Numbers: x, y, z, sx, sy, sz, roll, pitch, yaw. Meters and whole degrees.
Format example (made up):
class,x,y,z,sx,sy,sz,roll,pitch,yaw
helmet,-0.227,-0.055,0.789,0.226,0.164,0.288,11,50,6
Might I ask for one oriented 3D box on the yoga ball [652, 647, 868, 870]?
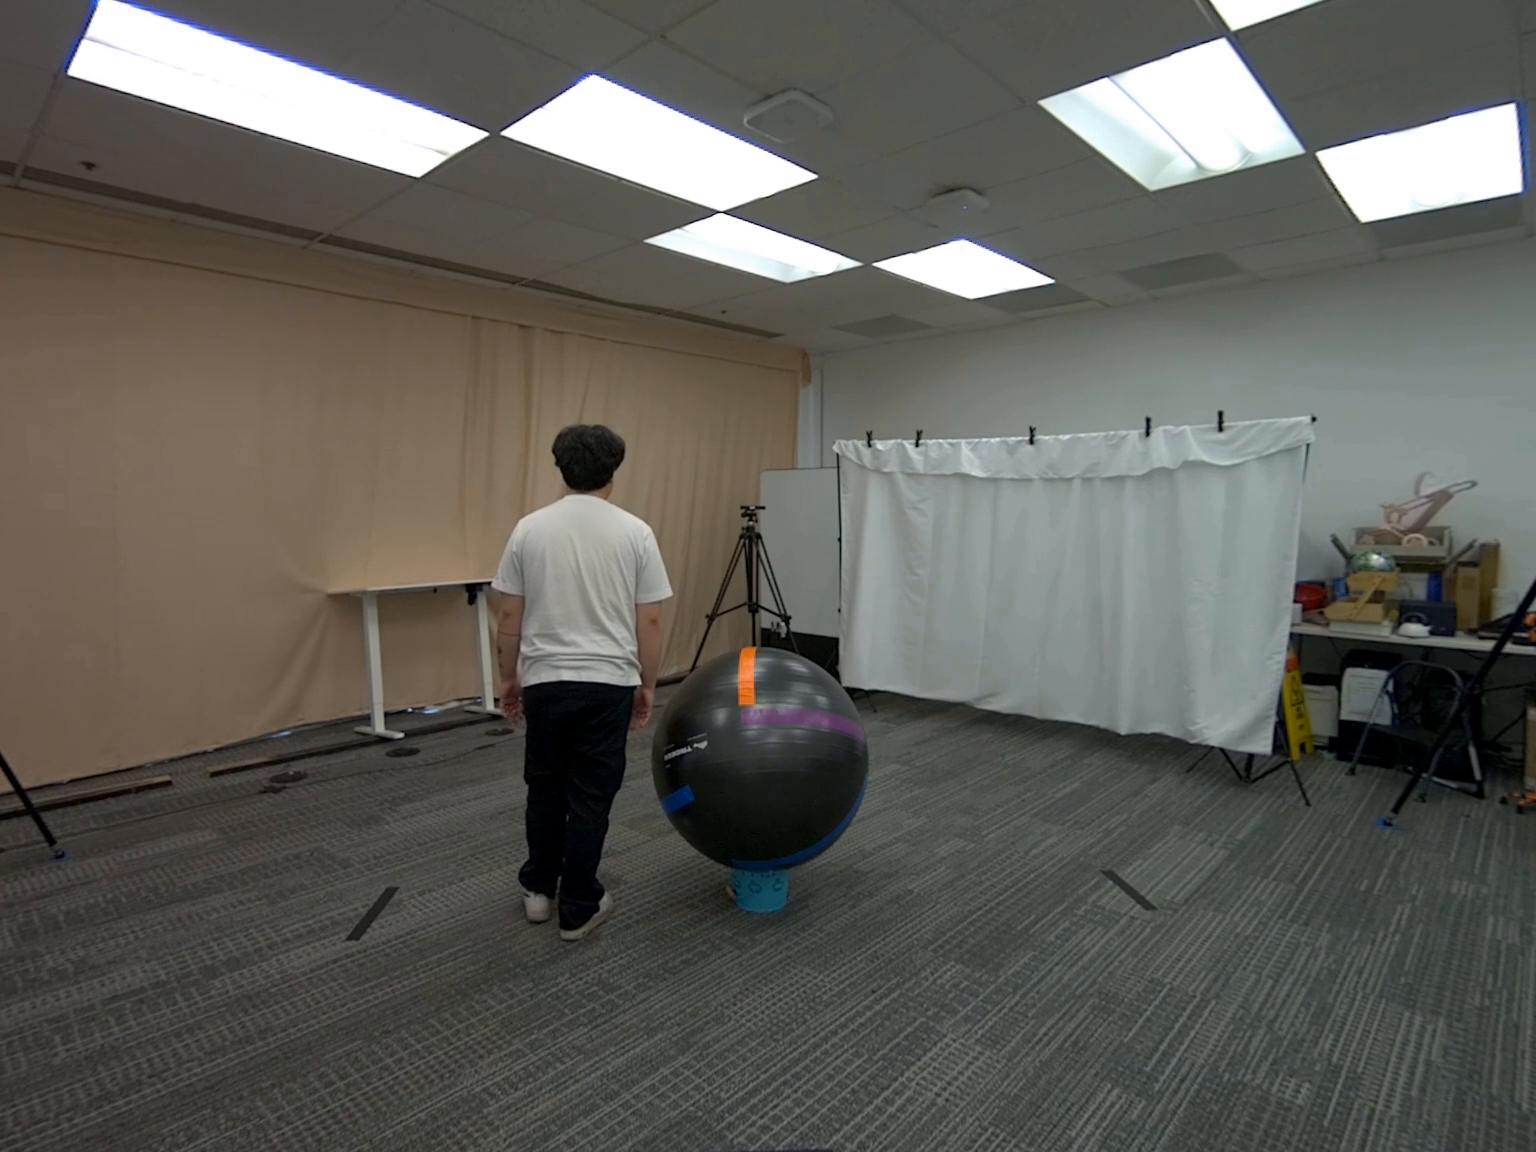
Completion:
class,x,y,z,sx,sy,sz,roll,pitch,yaw
yoga ball,-0.025,0.635,2.953,0.757,0.756,0.761,0,4,-2
